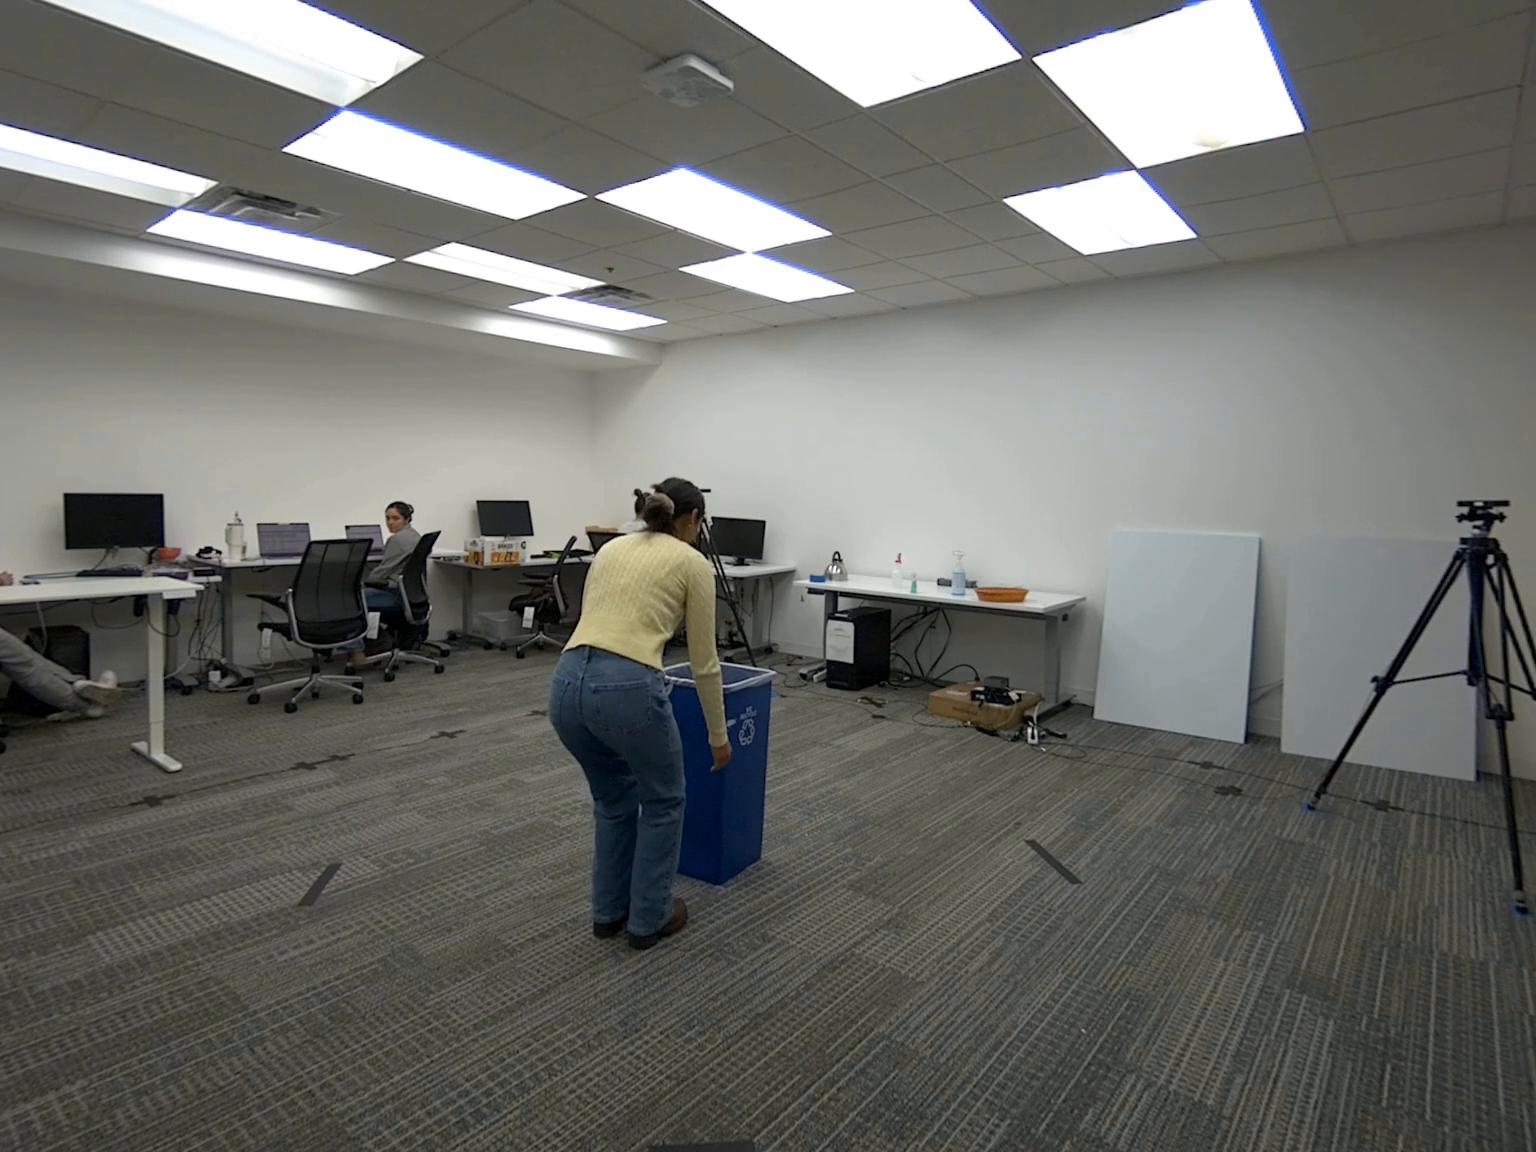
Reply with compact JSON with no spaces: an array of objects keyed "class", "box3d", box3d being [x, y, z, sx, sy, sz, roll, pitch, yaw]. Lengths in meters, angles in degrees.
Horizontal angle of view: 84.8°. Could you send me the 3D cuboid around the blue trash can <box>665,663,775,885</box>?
[{"class":"blue trash can","box3d":[-0.224,0.709,3.181,0.389,0.711,0.364,3,4,32]}]
